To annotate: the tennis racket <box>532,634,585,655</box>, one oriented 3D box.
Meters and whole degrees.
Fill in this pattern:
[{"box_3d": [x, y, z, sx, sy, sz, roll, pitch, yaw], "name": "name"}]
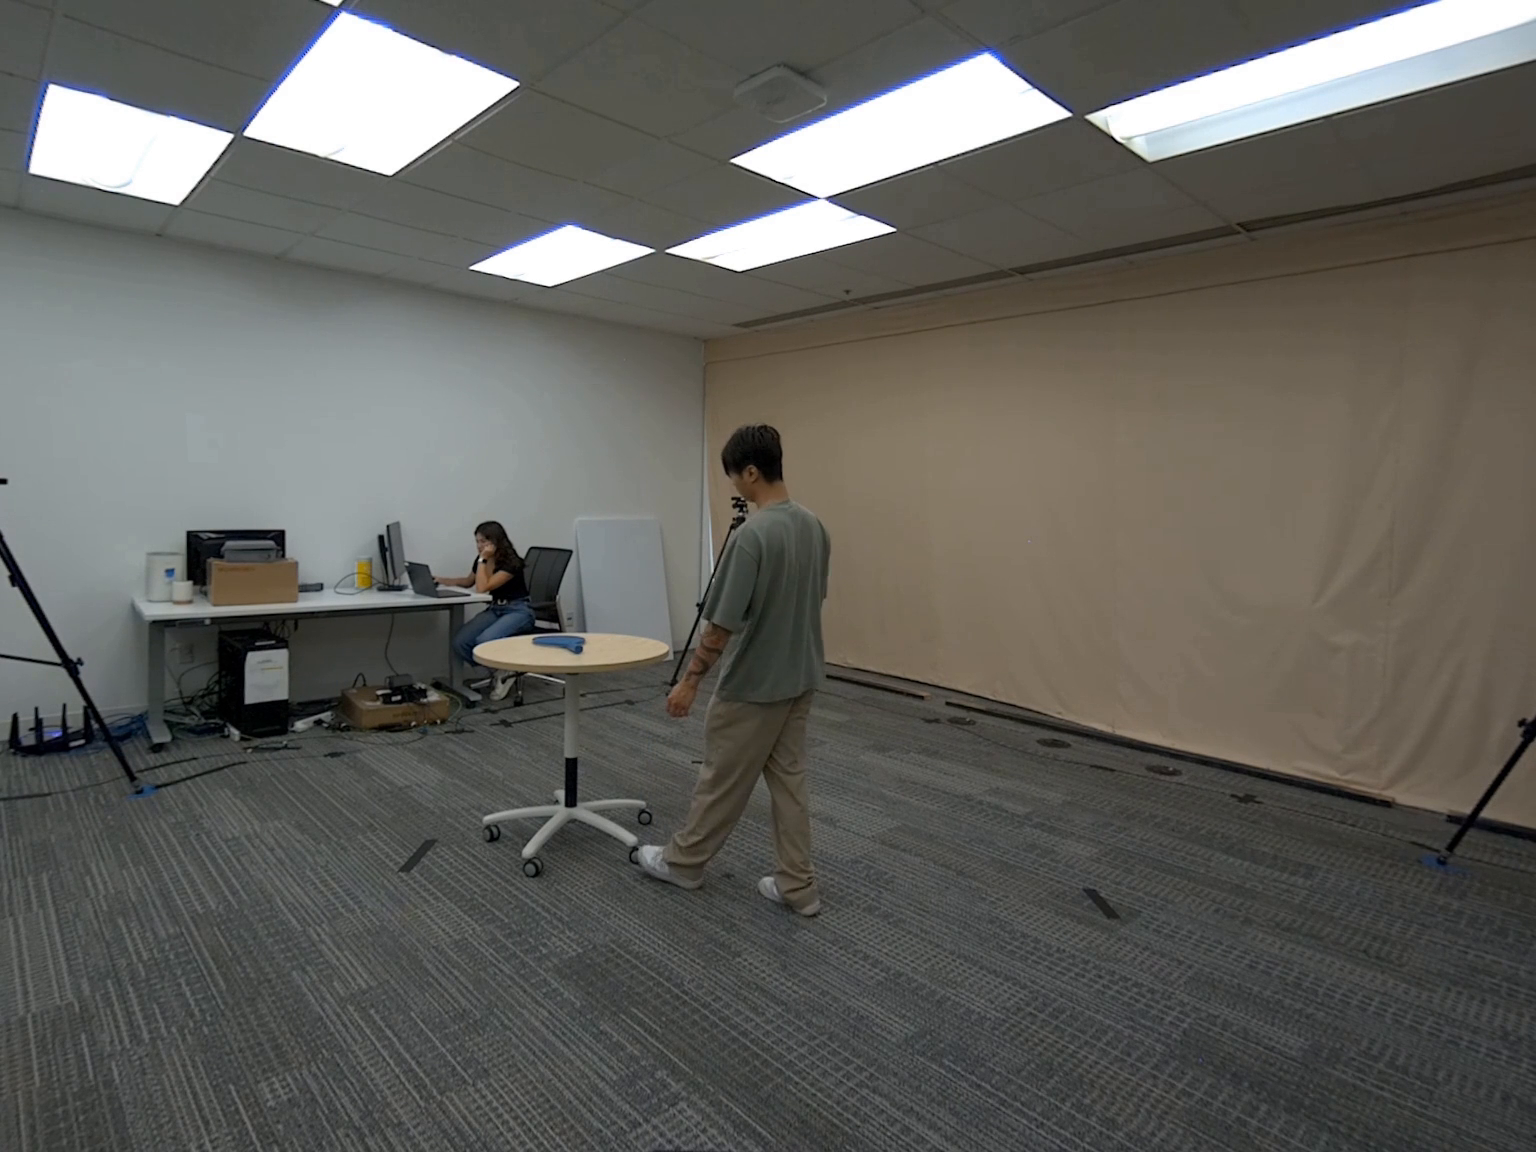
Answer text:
[{"box_3d": [-0.823, 0.266, 3.397, 0.210, 0.032, 0.441, -3, 5, -25], "name": "tennis racket"}]
